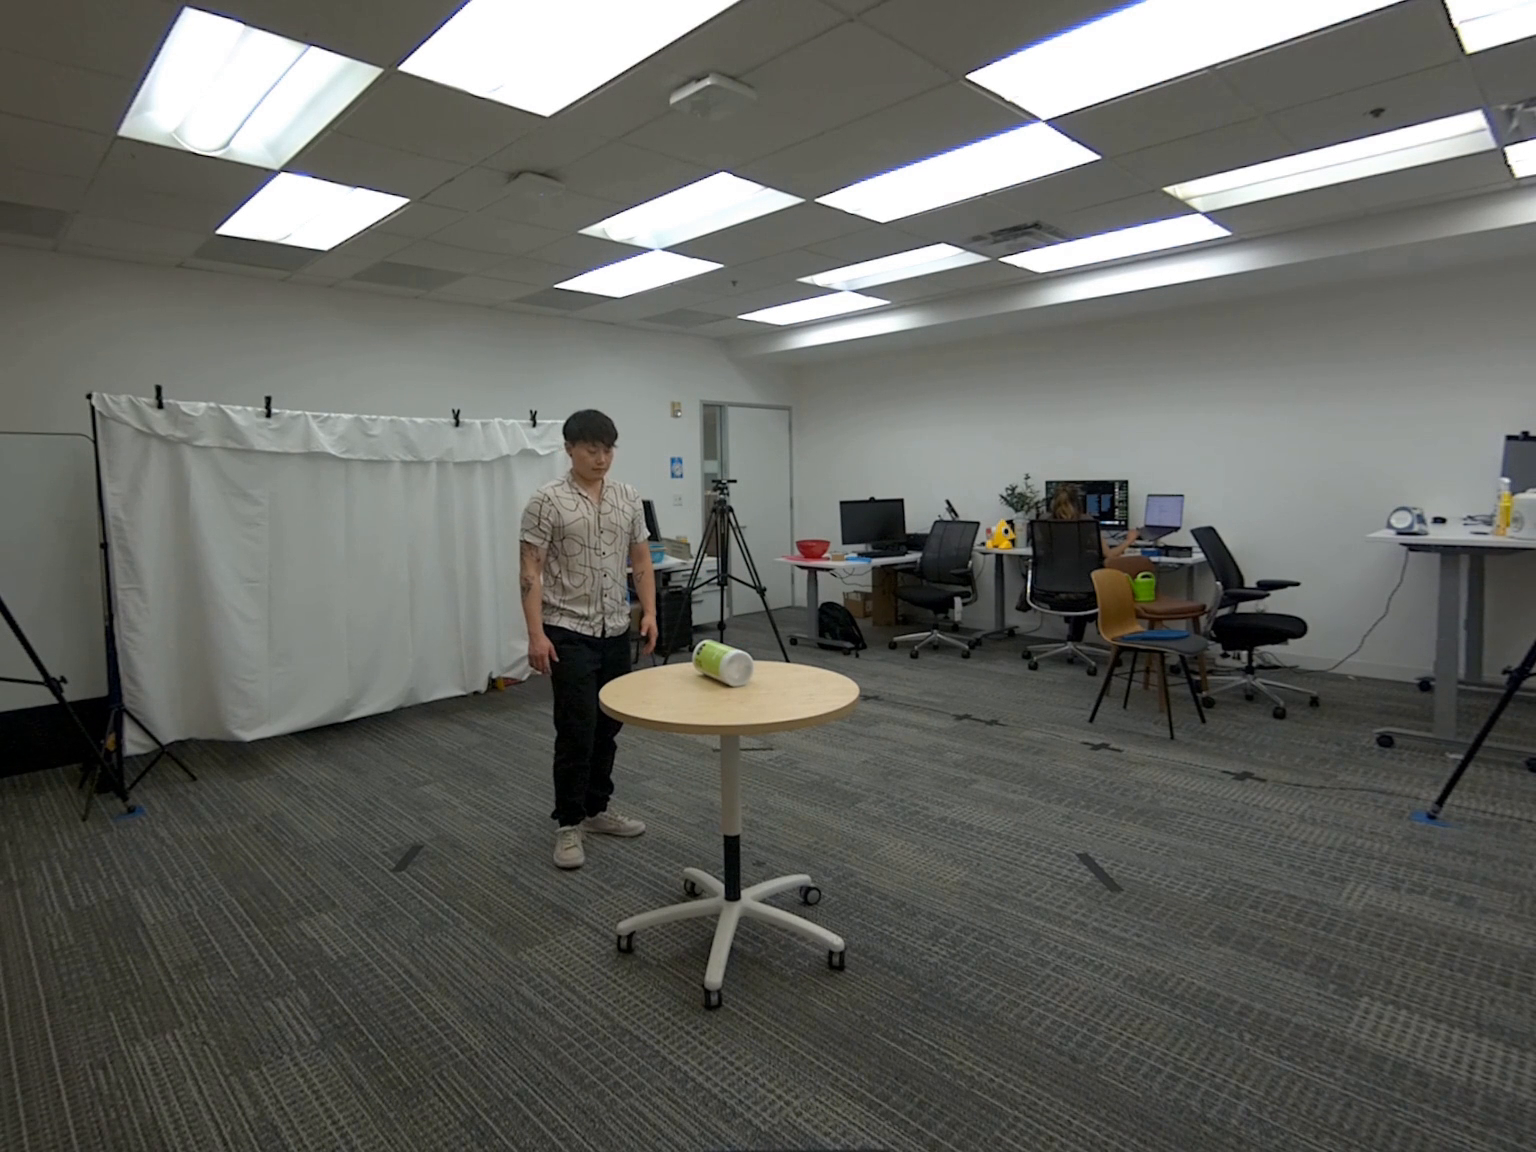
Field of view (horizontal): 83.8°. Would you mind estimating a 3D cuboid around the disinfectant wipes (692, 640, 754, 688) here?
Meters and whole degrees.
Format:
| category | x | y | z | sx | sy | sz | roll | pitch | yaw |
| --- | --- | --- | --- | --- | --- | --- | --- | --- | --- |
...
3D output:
| category | x | y | z | sx | sy | sz | roll | pitch | yaw |
| --- | --- | --- | --- | --- | --- | --- | --- | --- | --- |
| disinfectant wipes | -0.139 | 0.263 | 2.635 | 0.115 | 0.117 | 0.223 | -3 | 7 | -28 |
